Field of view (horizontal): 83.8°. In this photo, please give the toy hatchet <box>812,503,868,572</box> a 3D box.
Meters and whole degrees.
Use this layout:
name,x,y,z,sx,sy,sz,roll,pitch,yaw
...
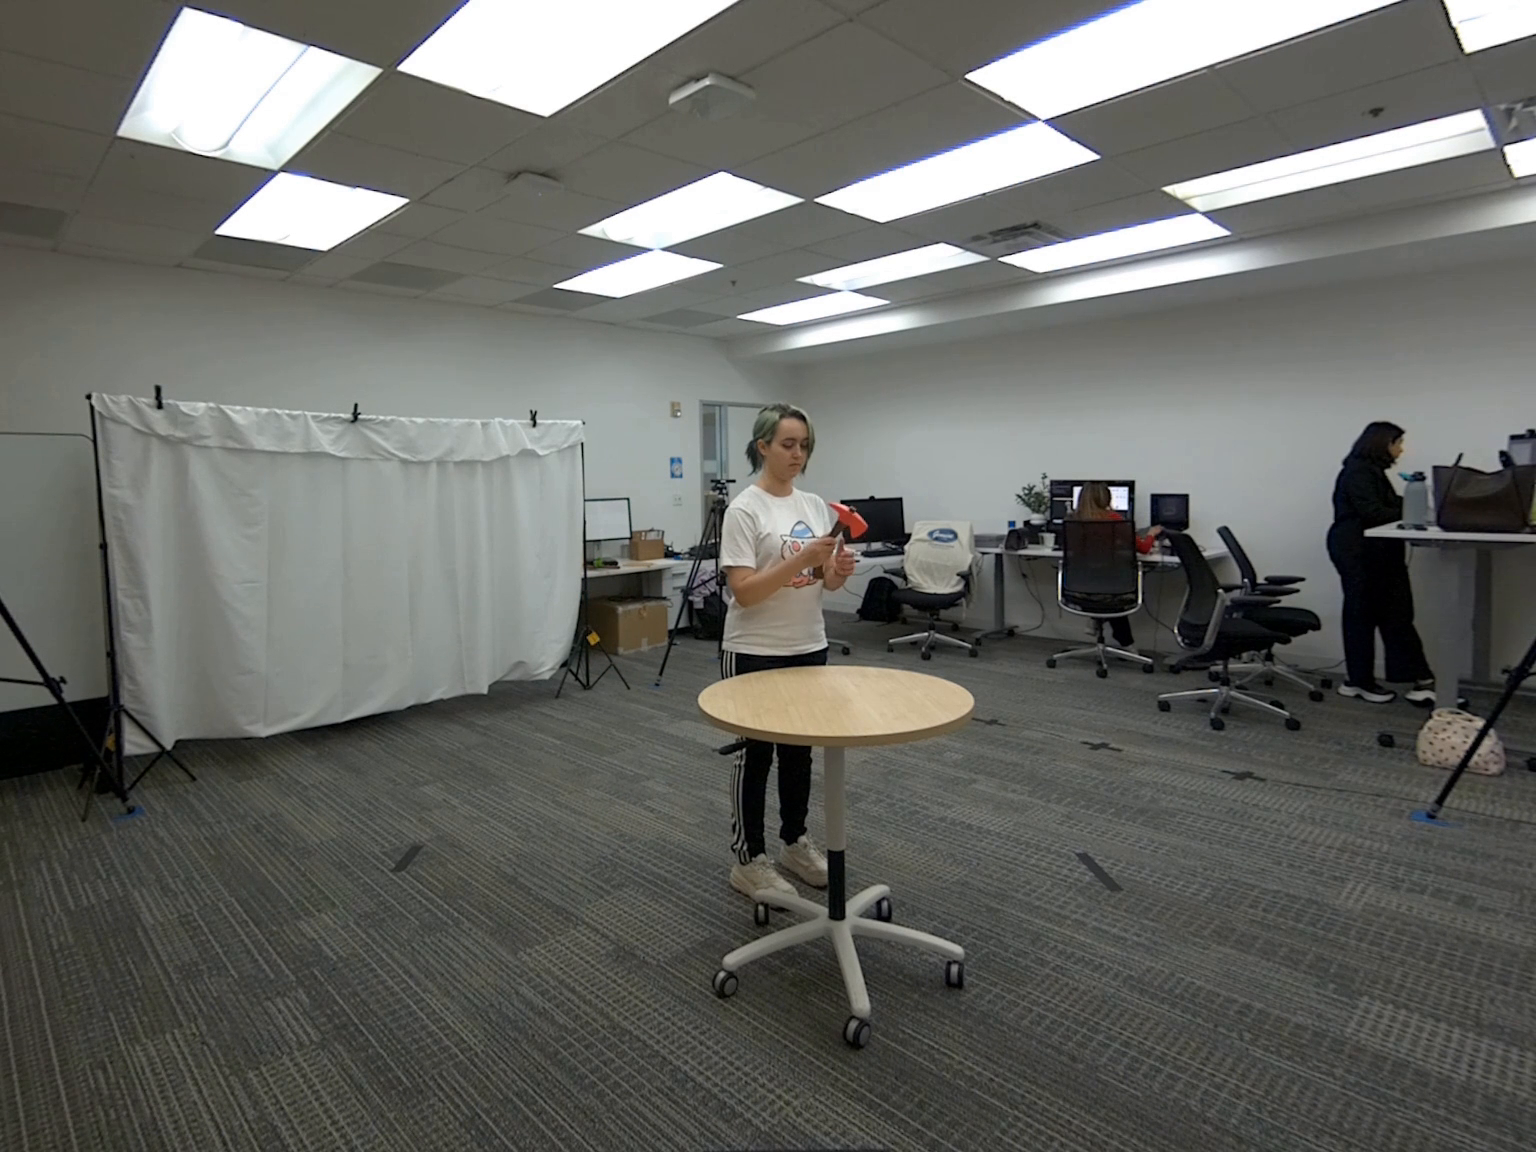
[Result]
name,x,y,z,sx,sy,sz,roll,pitch,yaw
toy hatchet,0.216,-0.095,2.630,0.133,0.265,0.030,20,31,10
